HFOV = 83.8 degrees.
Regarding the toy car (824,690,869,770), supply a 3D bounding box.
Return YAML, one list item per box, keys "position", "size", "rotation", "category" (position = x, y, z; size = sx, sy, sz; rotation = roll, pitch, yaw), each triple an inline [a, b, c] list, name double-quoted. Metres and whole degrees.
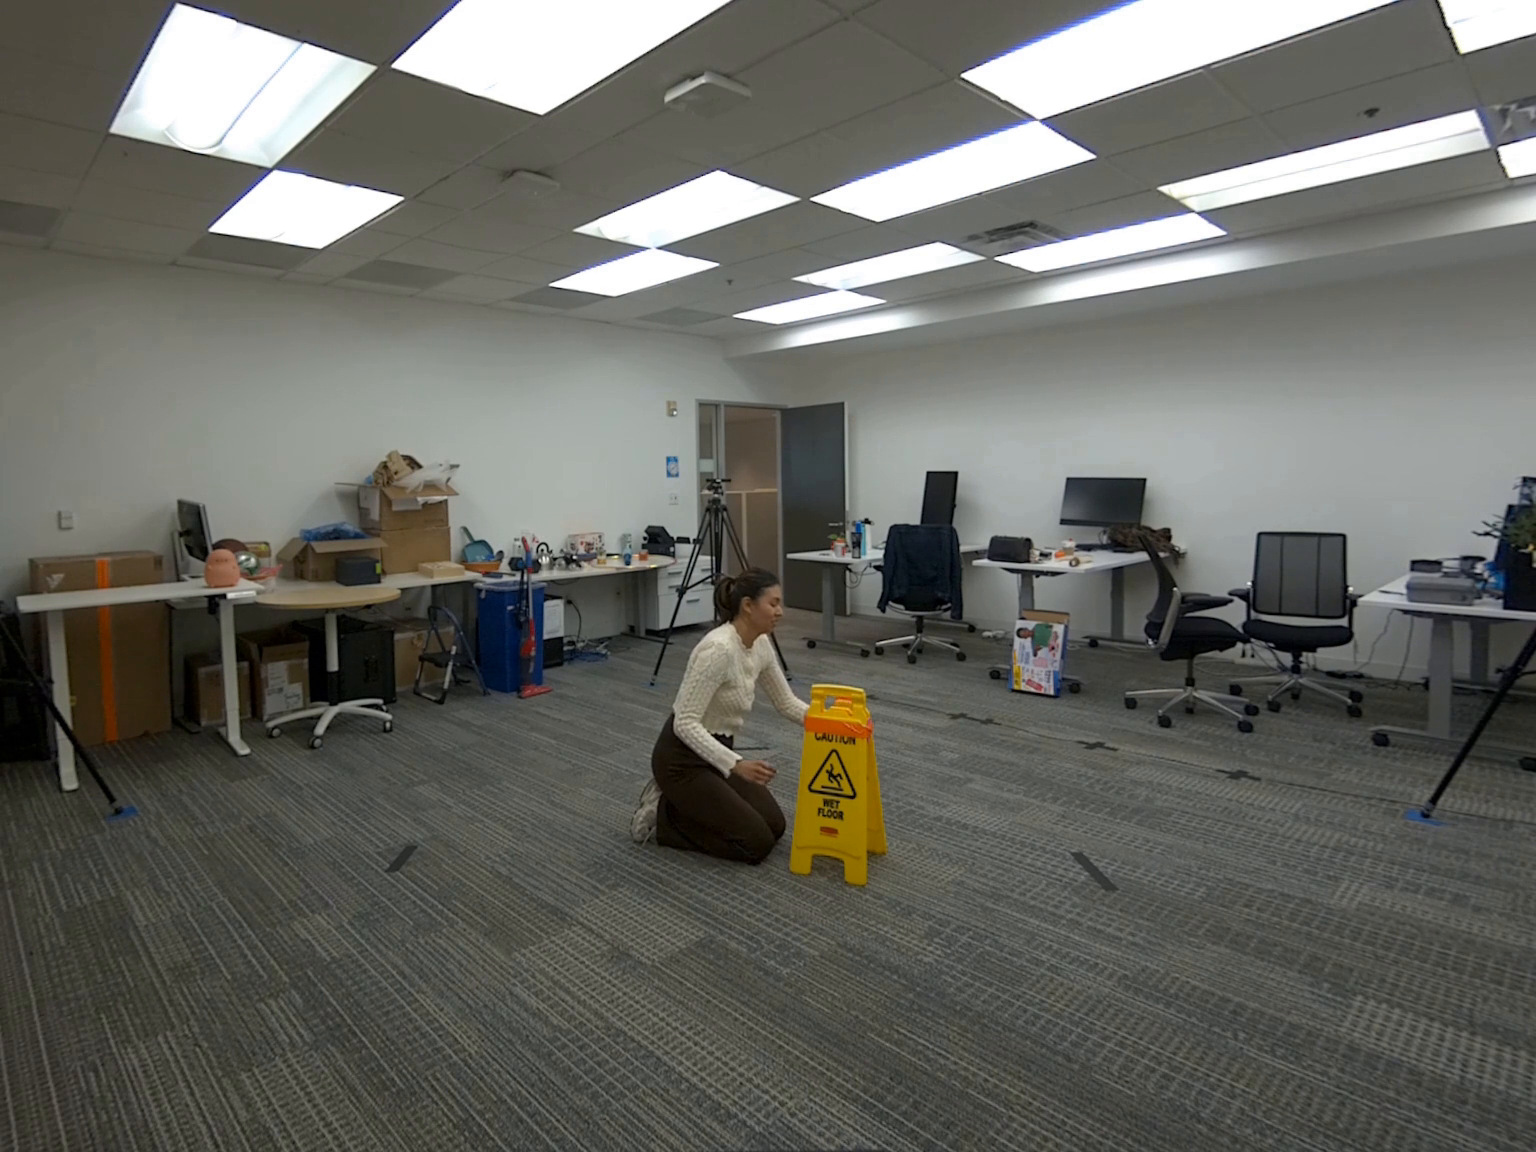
- position: [0.286, 0.560, 3.140]
  size: [0.133, 0.254, 0.081]
  rotation: [4, 2, 23]
  category: "toy car"
